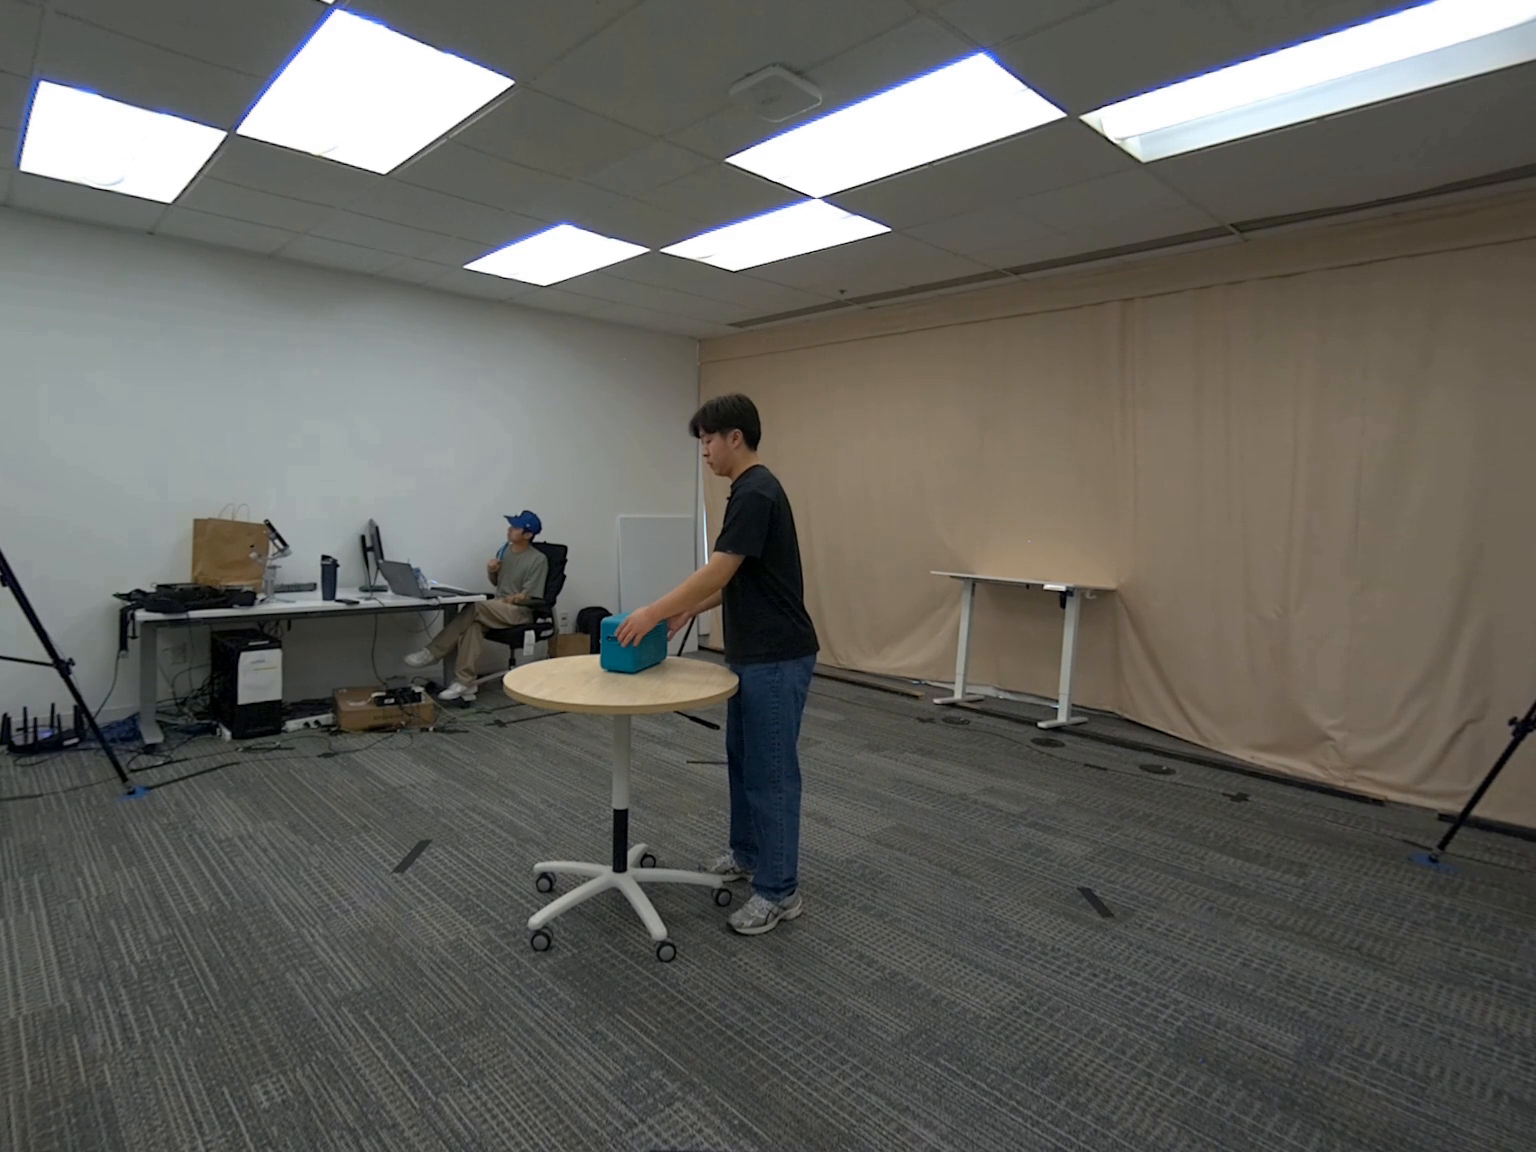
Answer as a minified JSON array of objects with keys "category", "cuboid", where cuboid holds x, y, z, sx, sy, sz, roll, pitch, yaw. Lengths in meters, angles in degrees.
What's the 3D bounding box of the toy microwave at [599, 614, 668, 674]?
[{"category":"toy microwave","cuboid":[-0.471,0.224,2.936,0.155,0.183,0.282,2,5,18]}]
